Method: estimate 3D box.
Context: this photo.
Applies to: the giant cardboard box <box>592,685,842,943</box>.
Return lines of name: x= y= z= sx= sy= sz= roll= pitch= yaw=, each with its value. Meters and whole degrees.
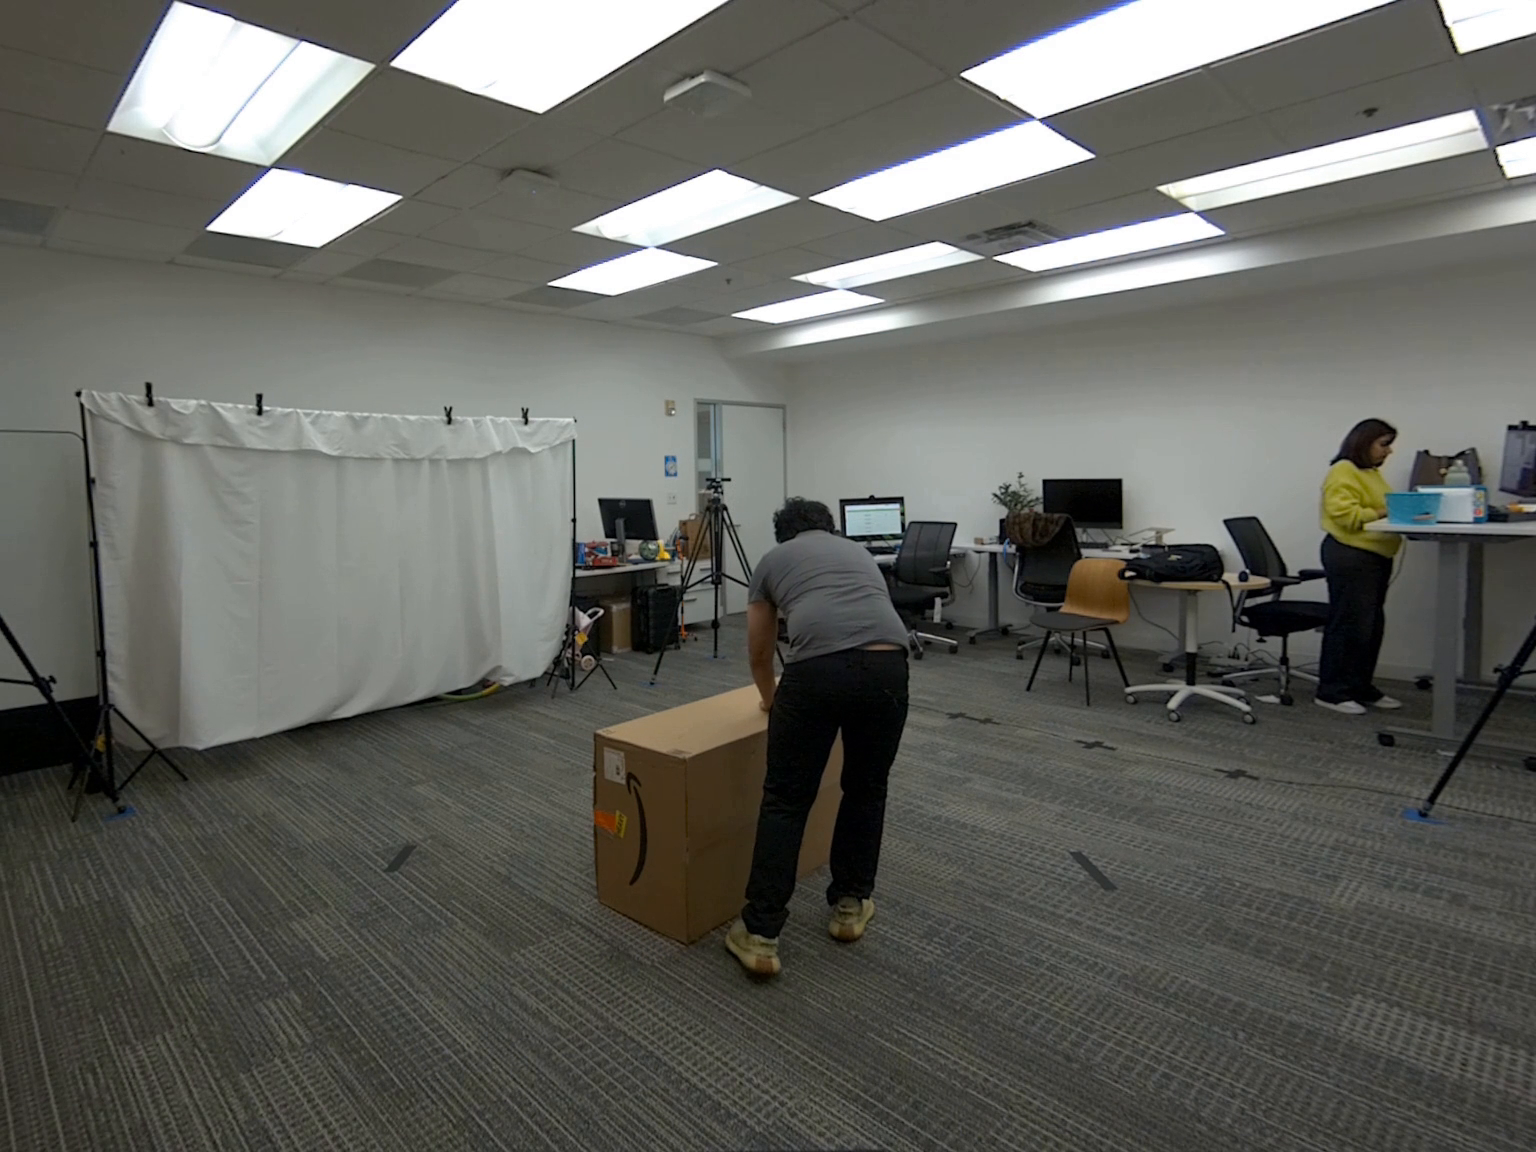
giant cardboard box: x=-0.093 y=0.758 z=3.065 sx=0.439 sy=0.575 sz=1.000 roll=3 pitch=7 yaw=40
